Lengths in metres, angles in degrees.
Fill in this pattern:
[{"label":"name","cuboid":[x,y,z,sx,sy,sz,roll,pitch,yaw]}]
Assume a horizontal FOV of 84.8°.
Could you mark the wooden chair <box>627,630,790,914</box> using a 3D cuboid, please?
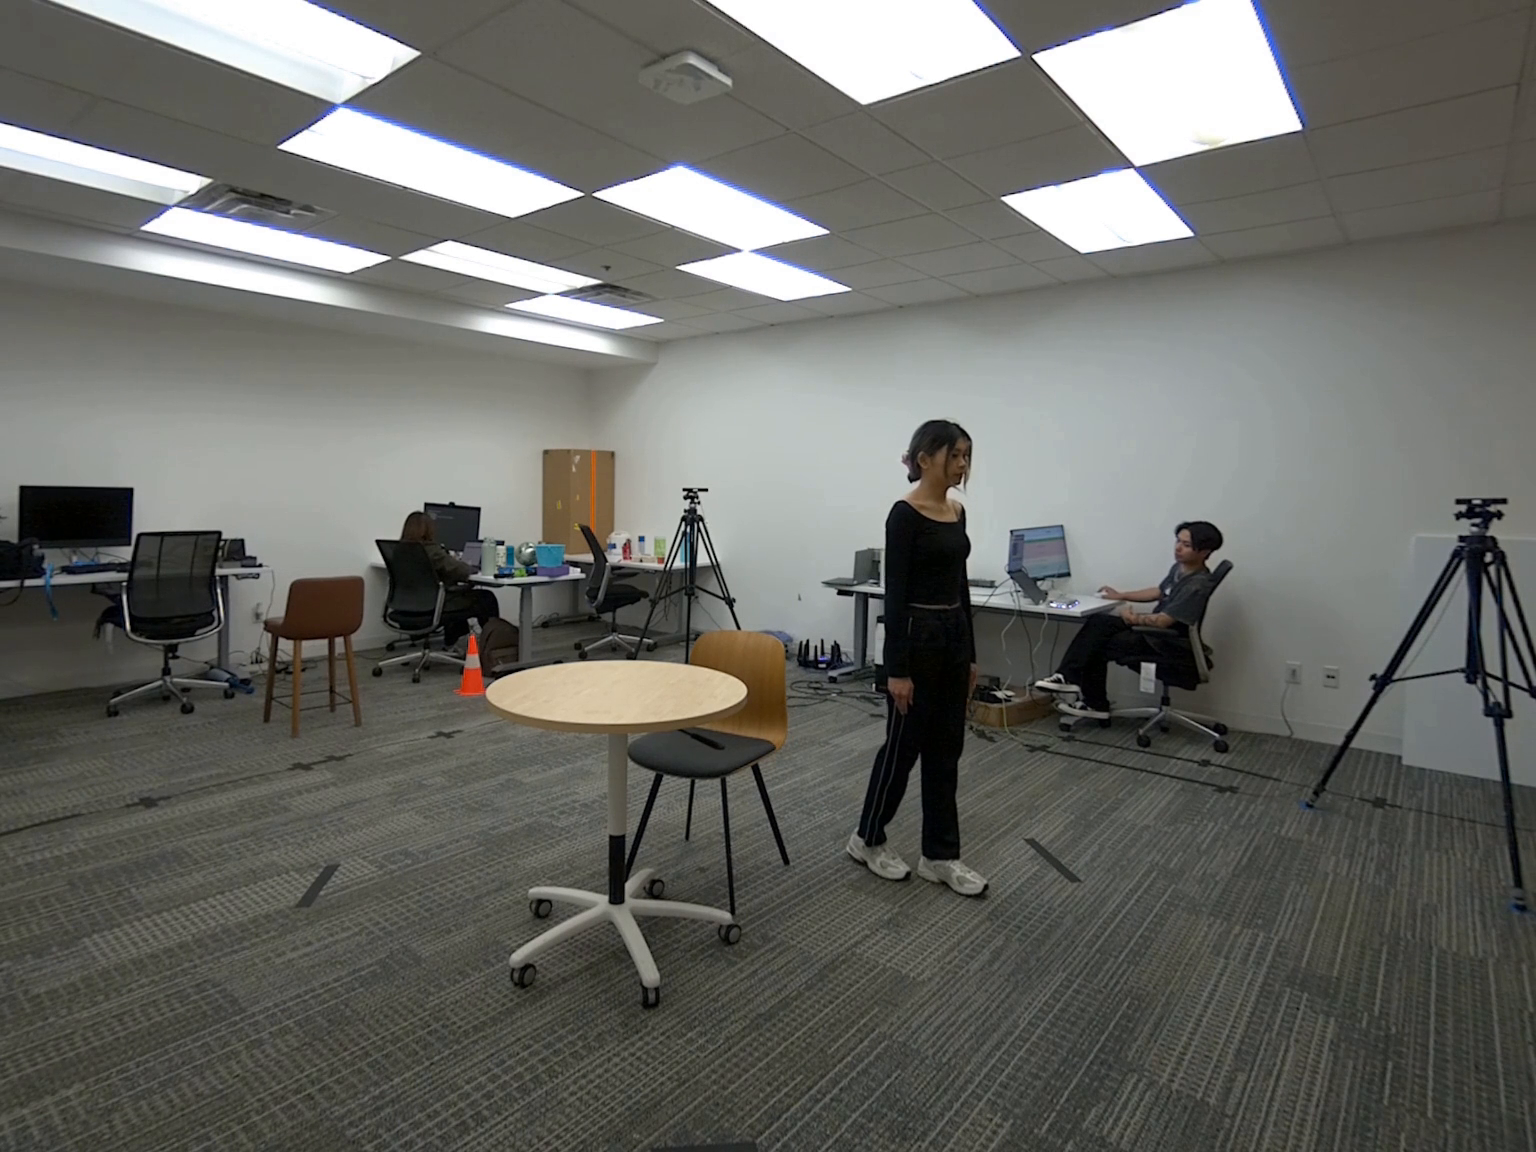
[{"label":"wooden chair","cuboid":[-0.219,0.647,3.046,0.491,0.878,0.508,2,-1,28]}]
